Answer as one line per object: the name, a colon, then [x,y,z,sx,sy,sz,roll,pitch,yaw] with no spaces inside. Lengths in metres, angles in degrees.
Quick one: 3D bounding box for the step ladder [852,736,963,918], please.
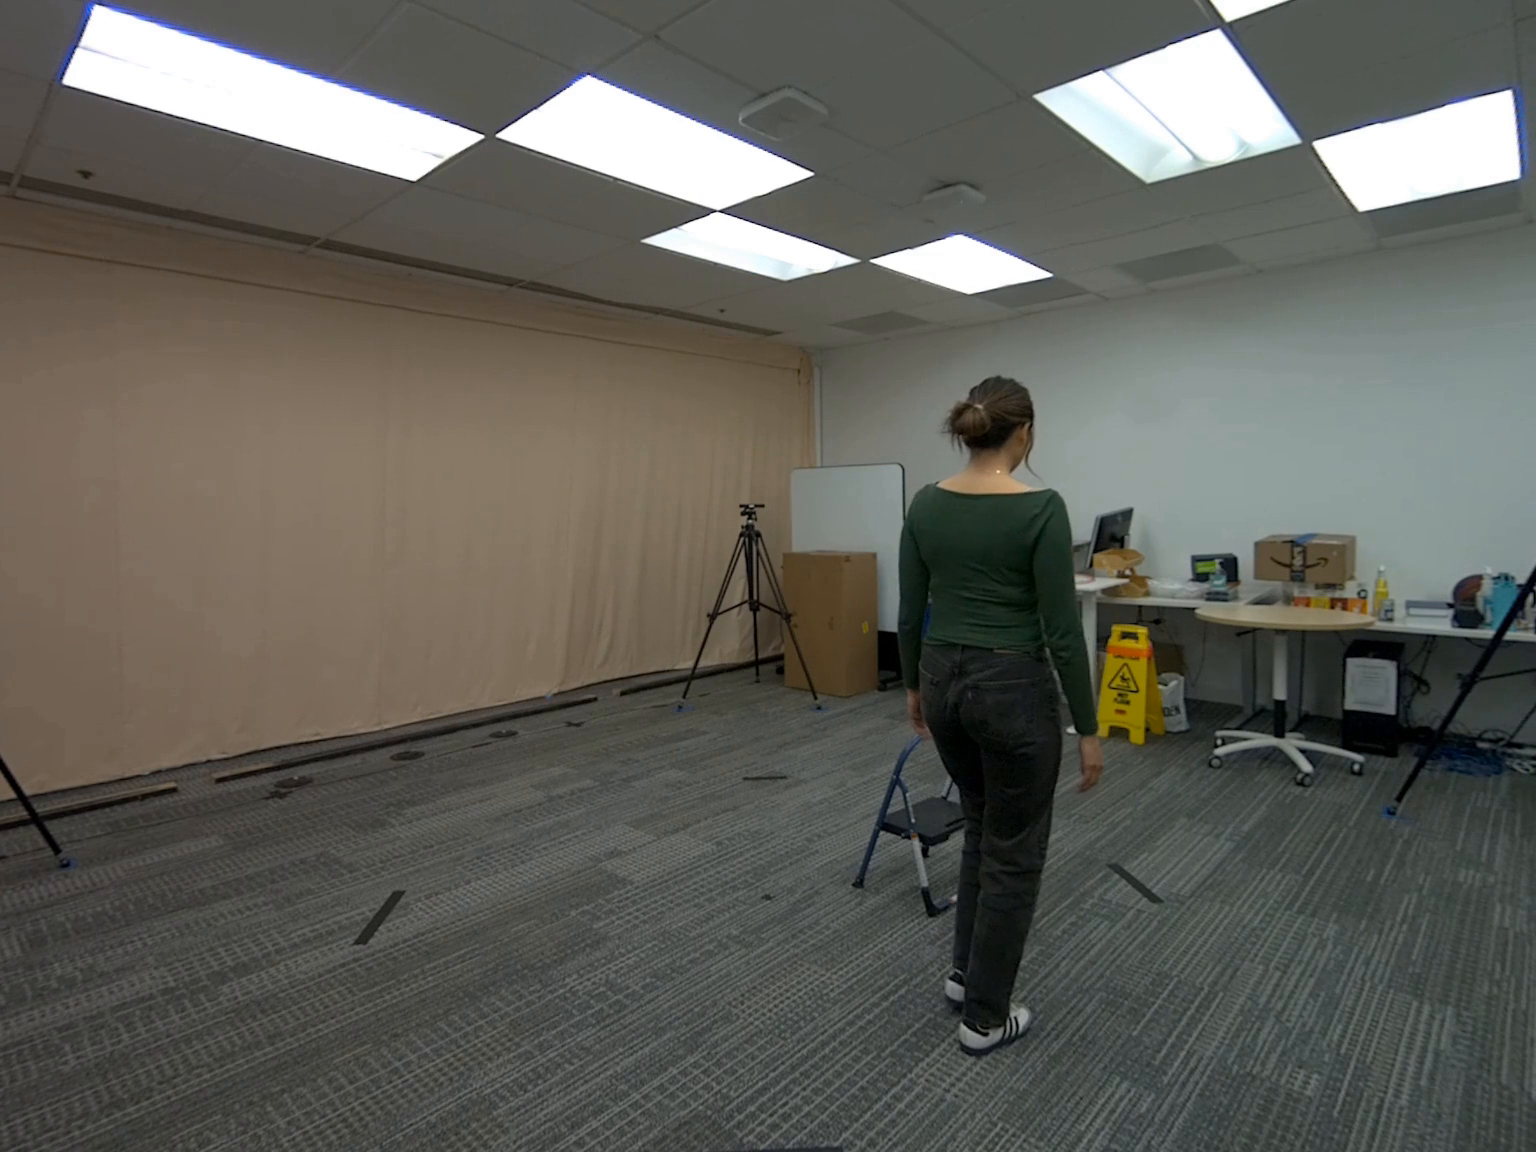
step ladder: [0.576,0.821,3.055,0.417,0.605,0.361,-4,5,-43]
